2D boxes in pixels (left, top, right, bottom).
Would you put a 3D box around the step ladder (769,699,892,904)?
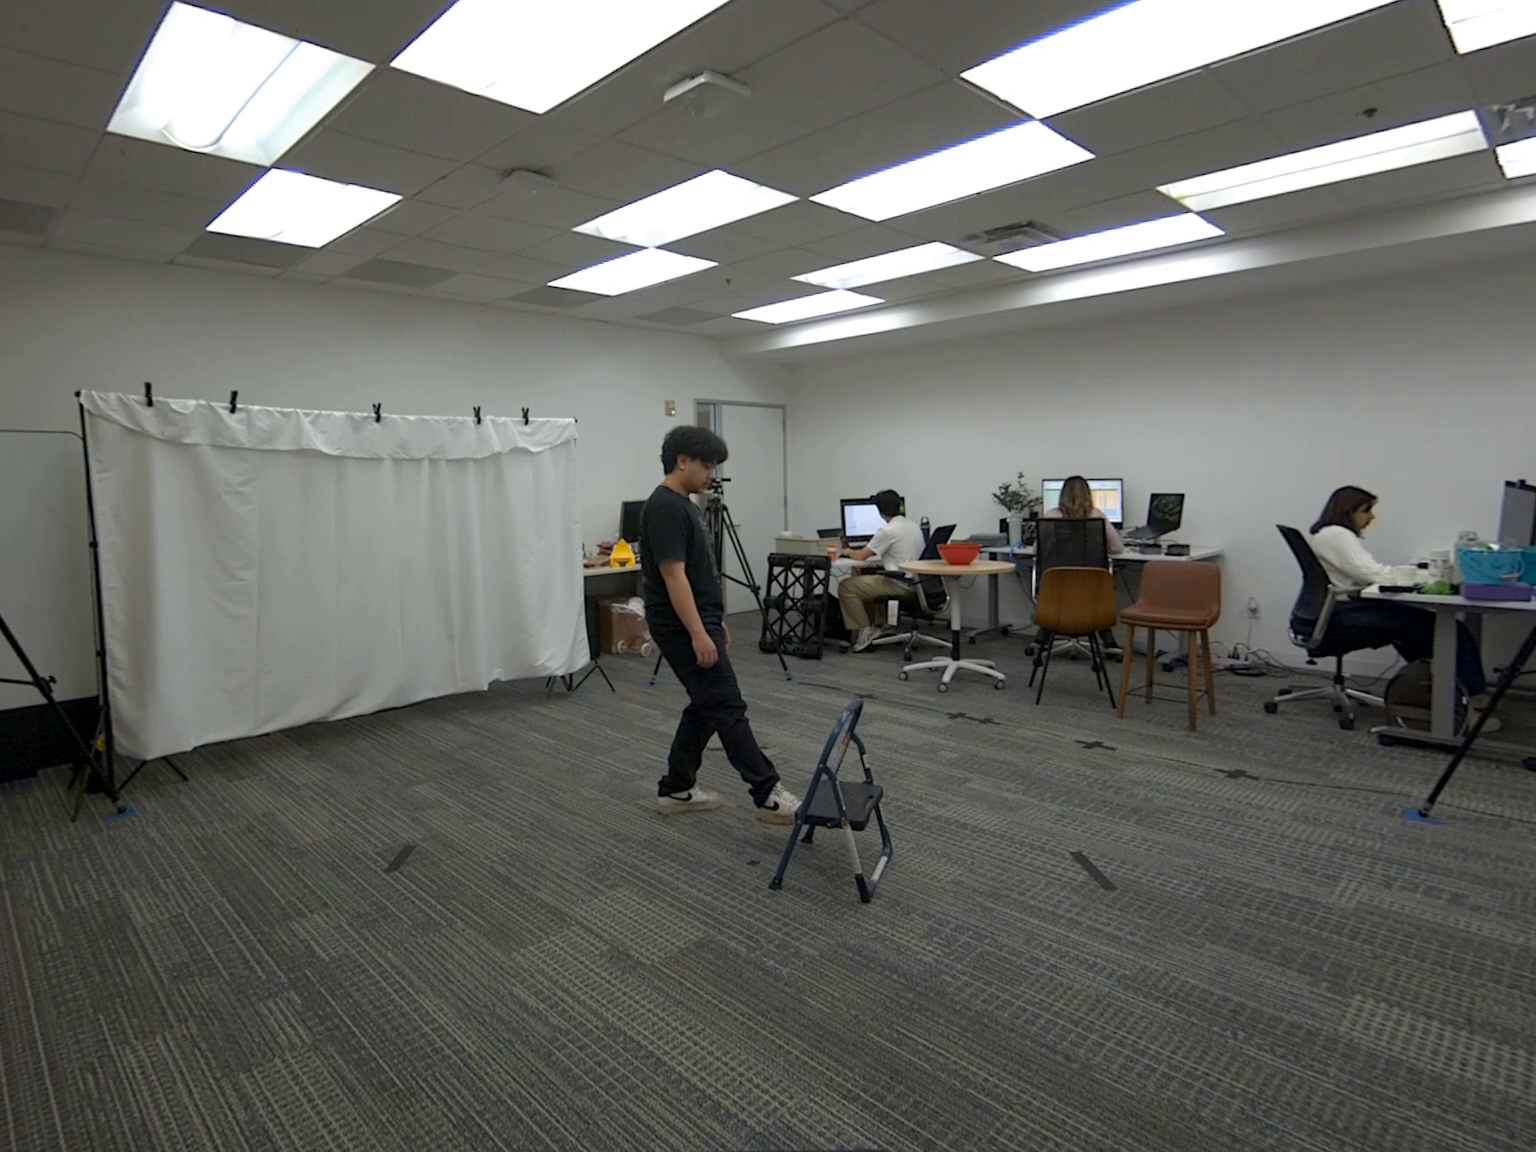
[{"bbox_3d":[0.231,0.744,3.021,0.356,0.604,0.424,0,4,20],"label":"step ladder"}]
